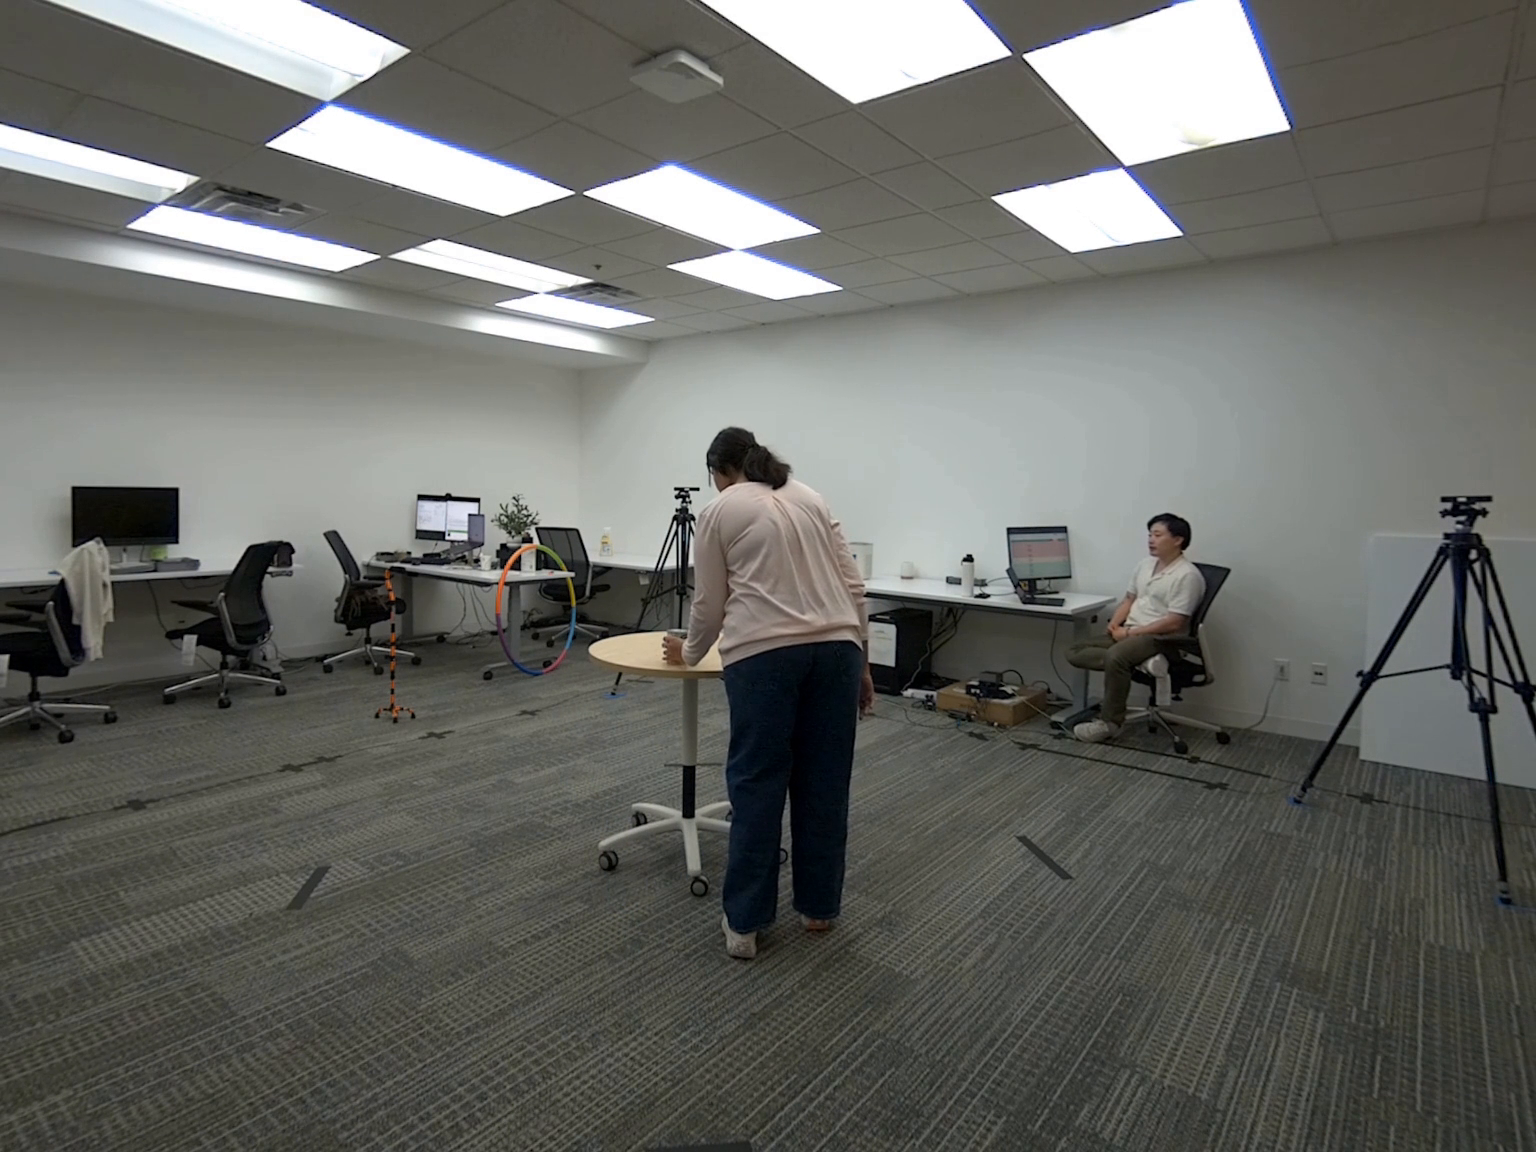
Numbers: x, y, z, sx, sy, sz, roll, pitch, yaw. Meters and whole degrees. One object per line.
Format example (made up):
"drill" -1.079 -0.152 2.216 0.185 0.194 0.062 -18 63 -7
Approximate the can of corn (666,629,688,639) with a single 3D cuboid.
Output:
"can of corn" -0.321 0.241 2.944 0.074 0.111 0.074 3 4 -2
